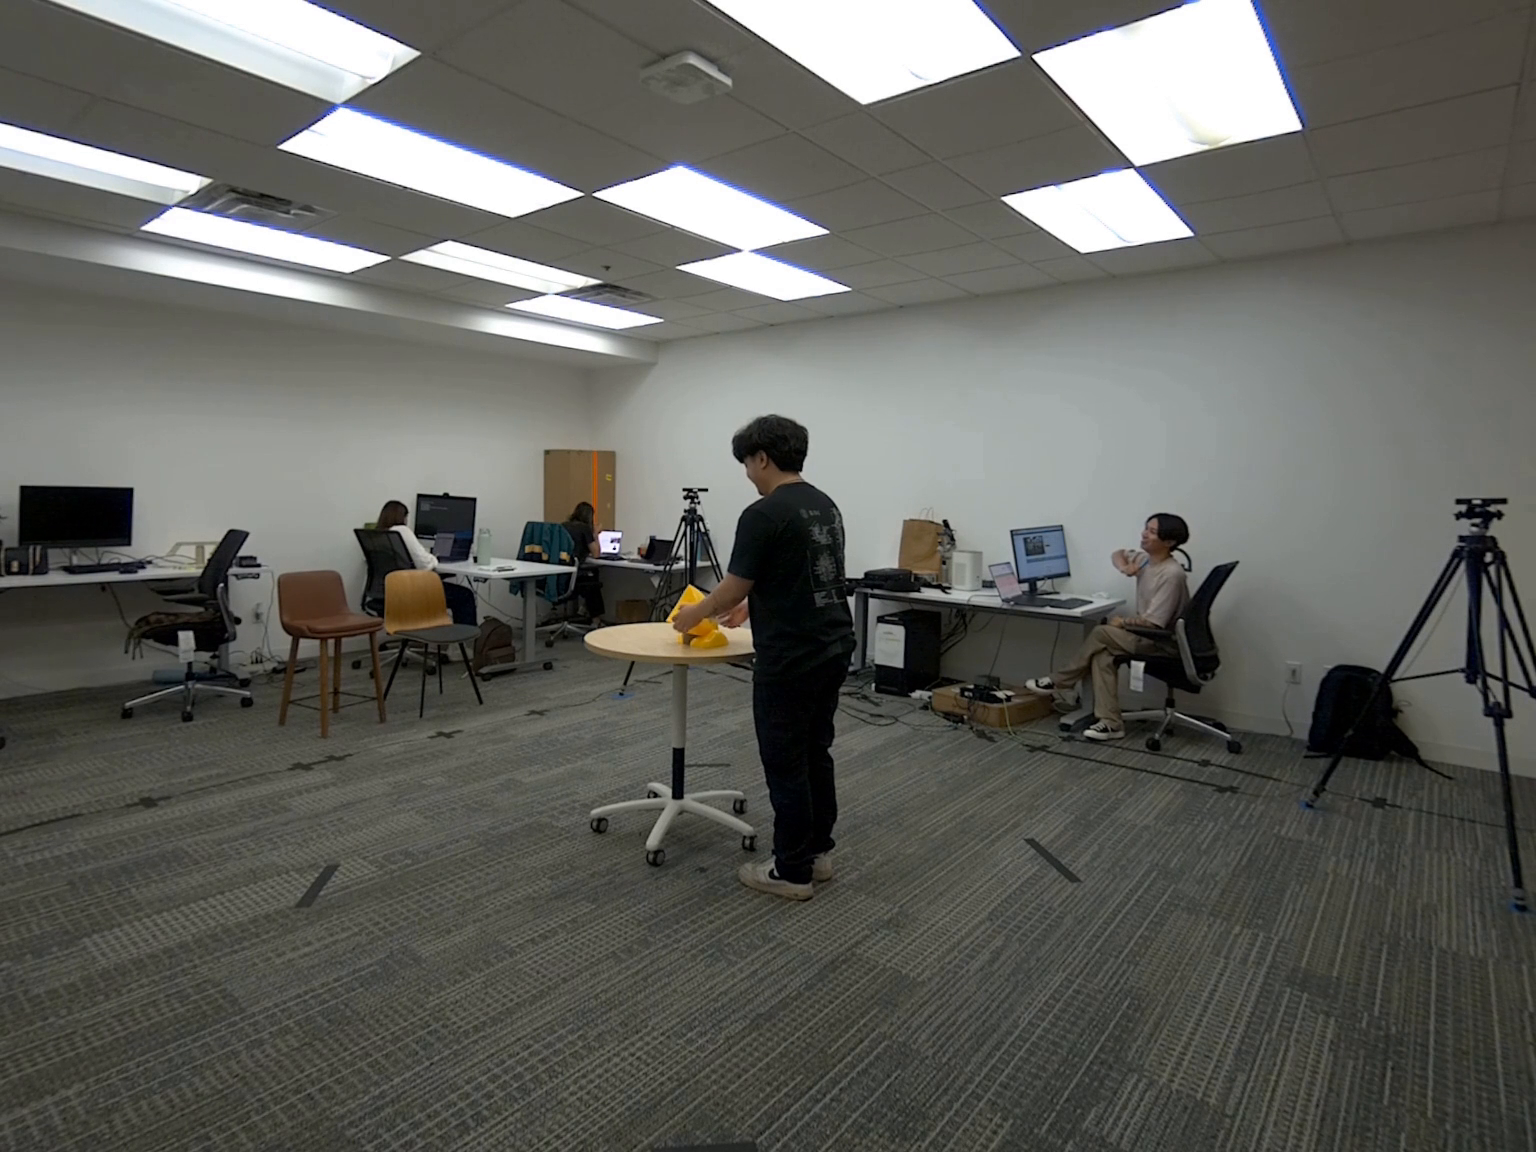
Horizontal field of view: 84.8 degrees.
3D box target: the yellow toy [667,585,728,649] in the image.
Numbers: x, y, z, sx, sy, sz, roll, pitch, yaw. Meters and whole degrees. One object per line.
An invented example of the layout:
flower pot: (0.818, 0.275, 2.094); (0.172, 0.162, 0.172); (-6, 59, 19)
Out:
yellow toy: (-0.278, 0.145, 3.312); (0.187, 0.230, 0.212); (-2, 6, -43)
